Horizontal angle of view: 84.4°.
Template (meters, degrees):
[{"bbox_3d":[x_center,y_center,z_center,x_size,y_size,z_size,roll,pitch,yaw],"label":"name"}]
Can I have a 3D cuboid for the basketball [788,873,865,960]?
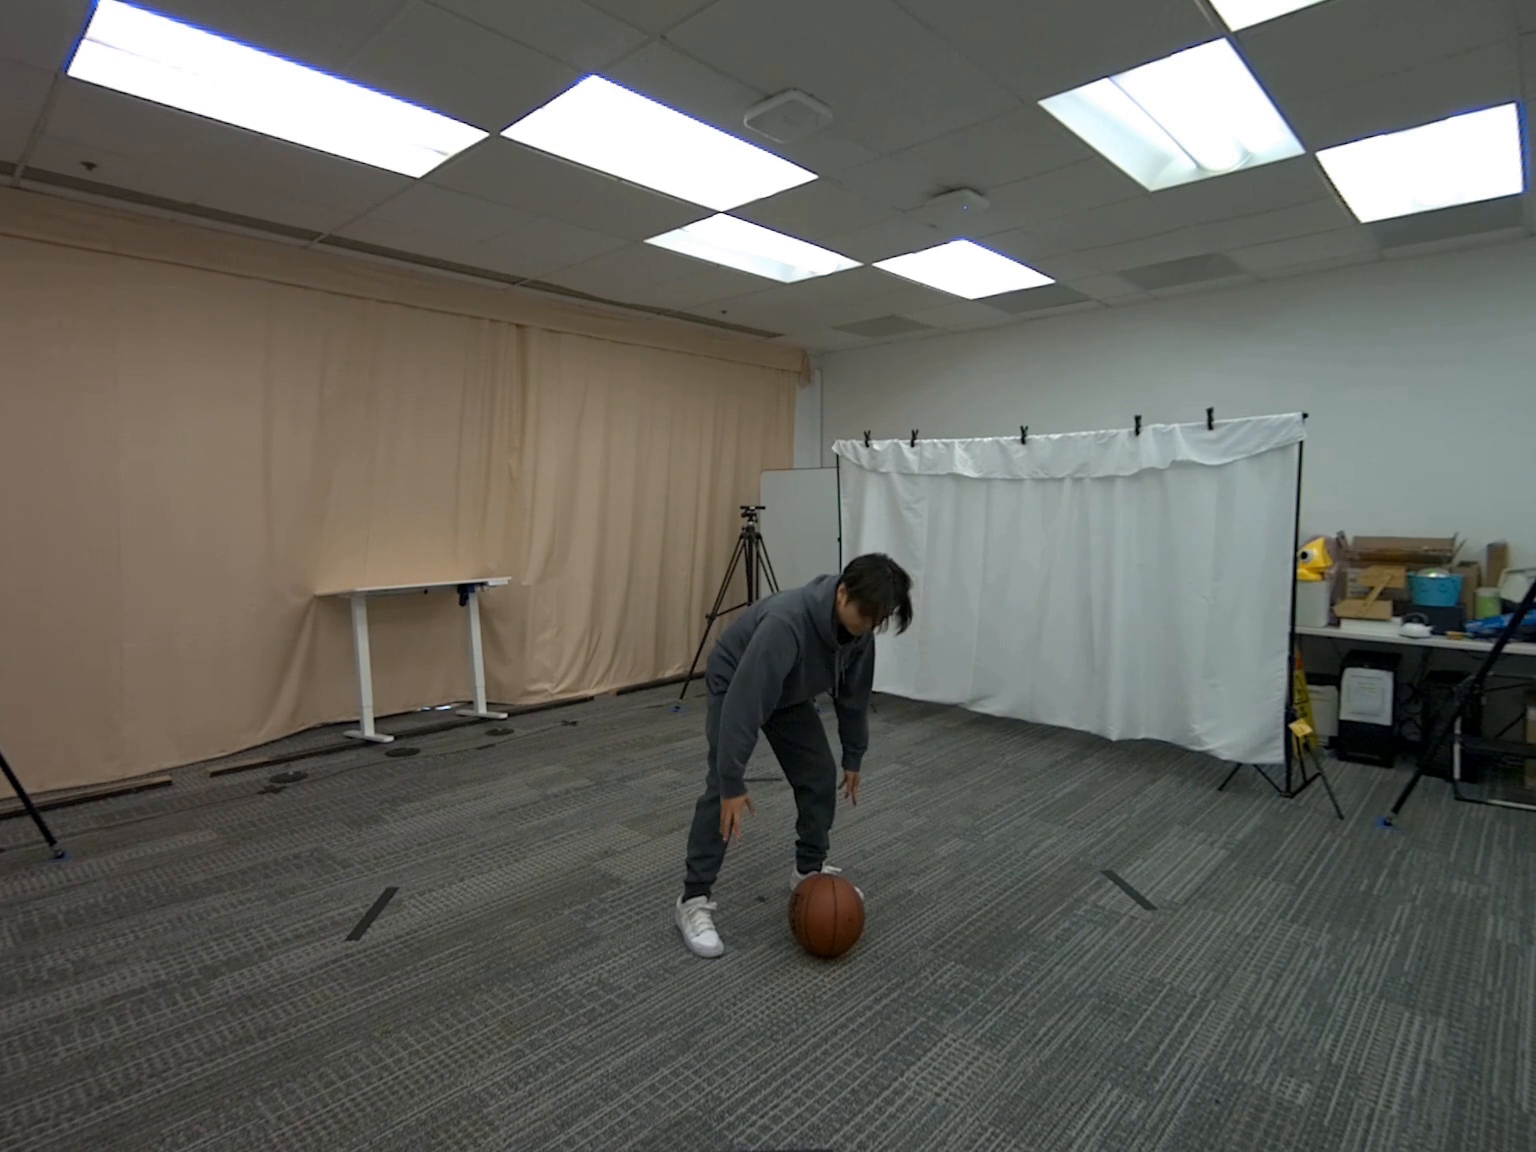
[{"bbox_3d":[0.187,1.053,2.621,0.236,0.235,0.237,0,4,-2],"label":"basketball"}]
